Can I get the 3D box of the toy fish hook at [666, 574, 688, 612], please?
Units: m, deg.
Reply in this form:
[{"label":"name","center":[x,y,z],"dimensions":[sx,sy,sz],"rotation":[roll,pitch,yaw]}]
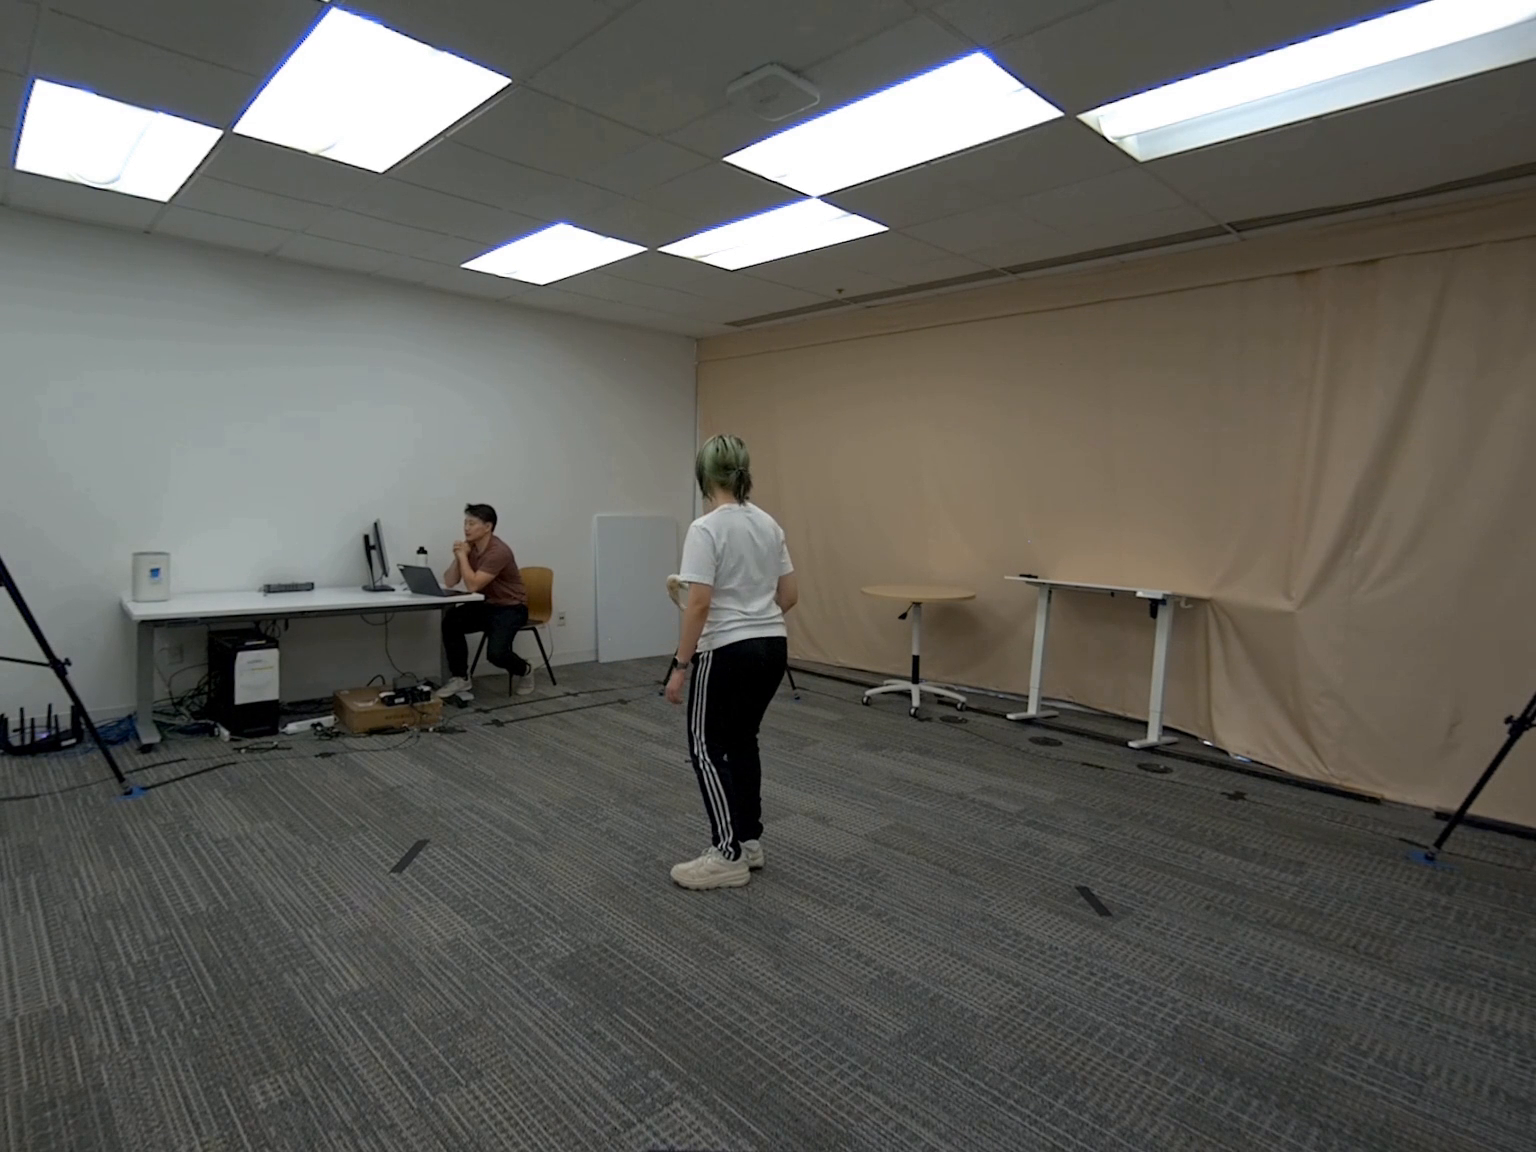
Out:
[{"label":"toy fish hook","center":[-0.241,0.162,3.535],"dimensions":[0.520,0.219,0.048],"rotation":[32,56,28]}]
